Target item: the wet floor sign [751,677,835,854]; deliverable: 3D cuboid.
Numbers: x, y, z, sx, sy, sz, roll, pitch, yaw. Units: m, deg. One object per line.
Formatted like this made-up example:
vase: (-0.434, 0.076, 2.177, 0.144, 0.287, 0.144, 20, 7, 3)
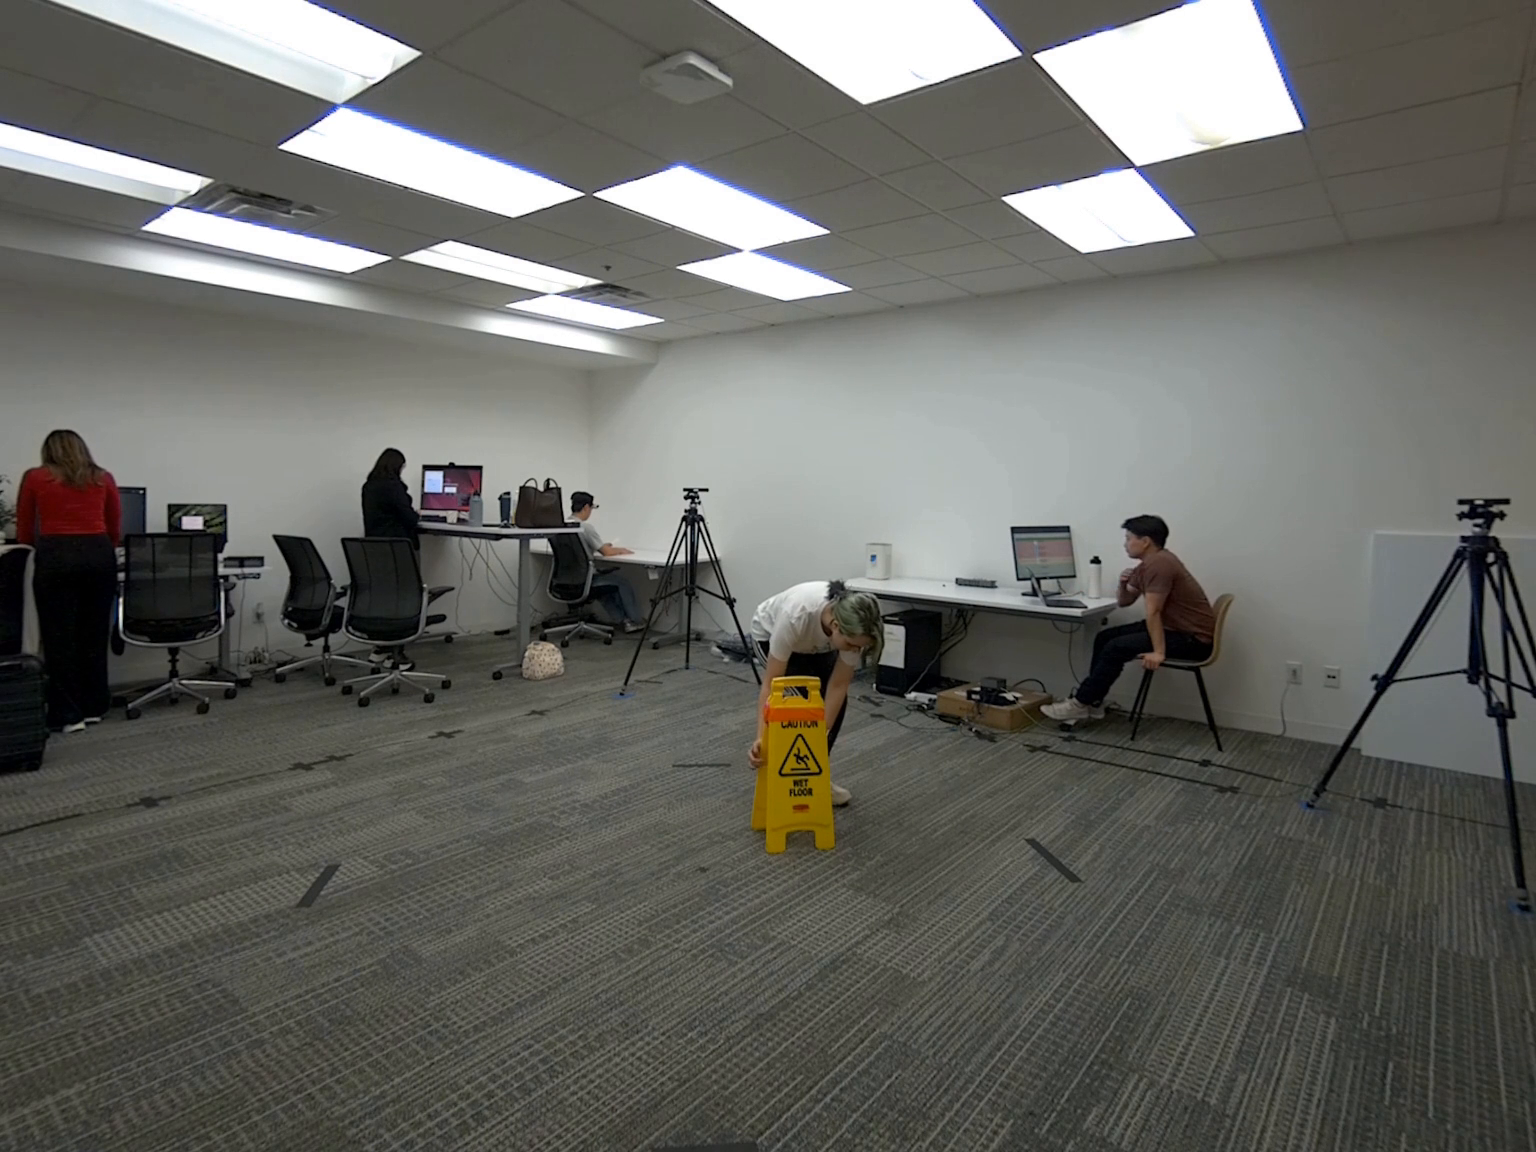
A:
wet floor sign: (0.098, 0.728, 3.390, 0.278, 0.644, 0.295, 0, 3, -14)
